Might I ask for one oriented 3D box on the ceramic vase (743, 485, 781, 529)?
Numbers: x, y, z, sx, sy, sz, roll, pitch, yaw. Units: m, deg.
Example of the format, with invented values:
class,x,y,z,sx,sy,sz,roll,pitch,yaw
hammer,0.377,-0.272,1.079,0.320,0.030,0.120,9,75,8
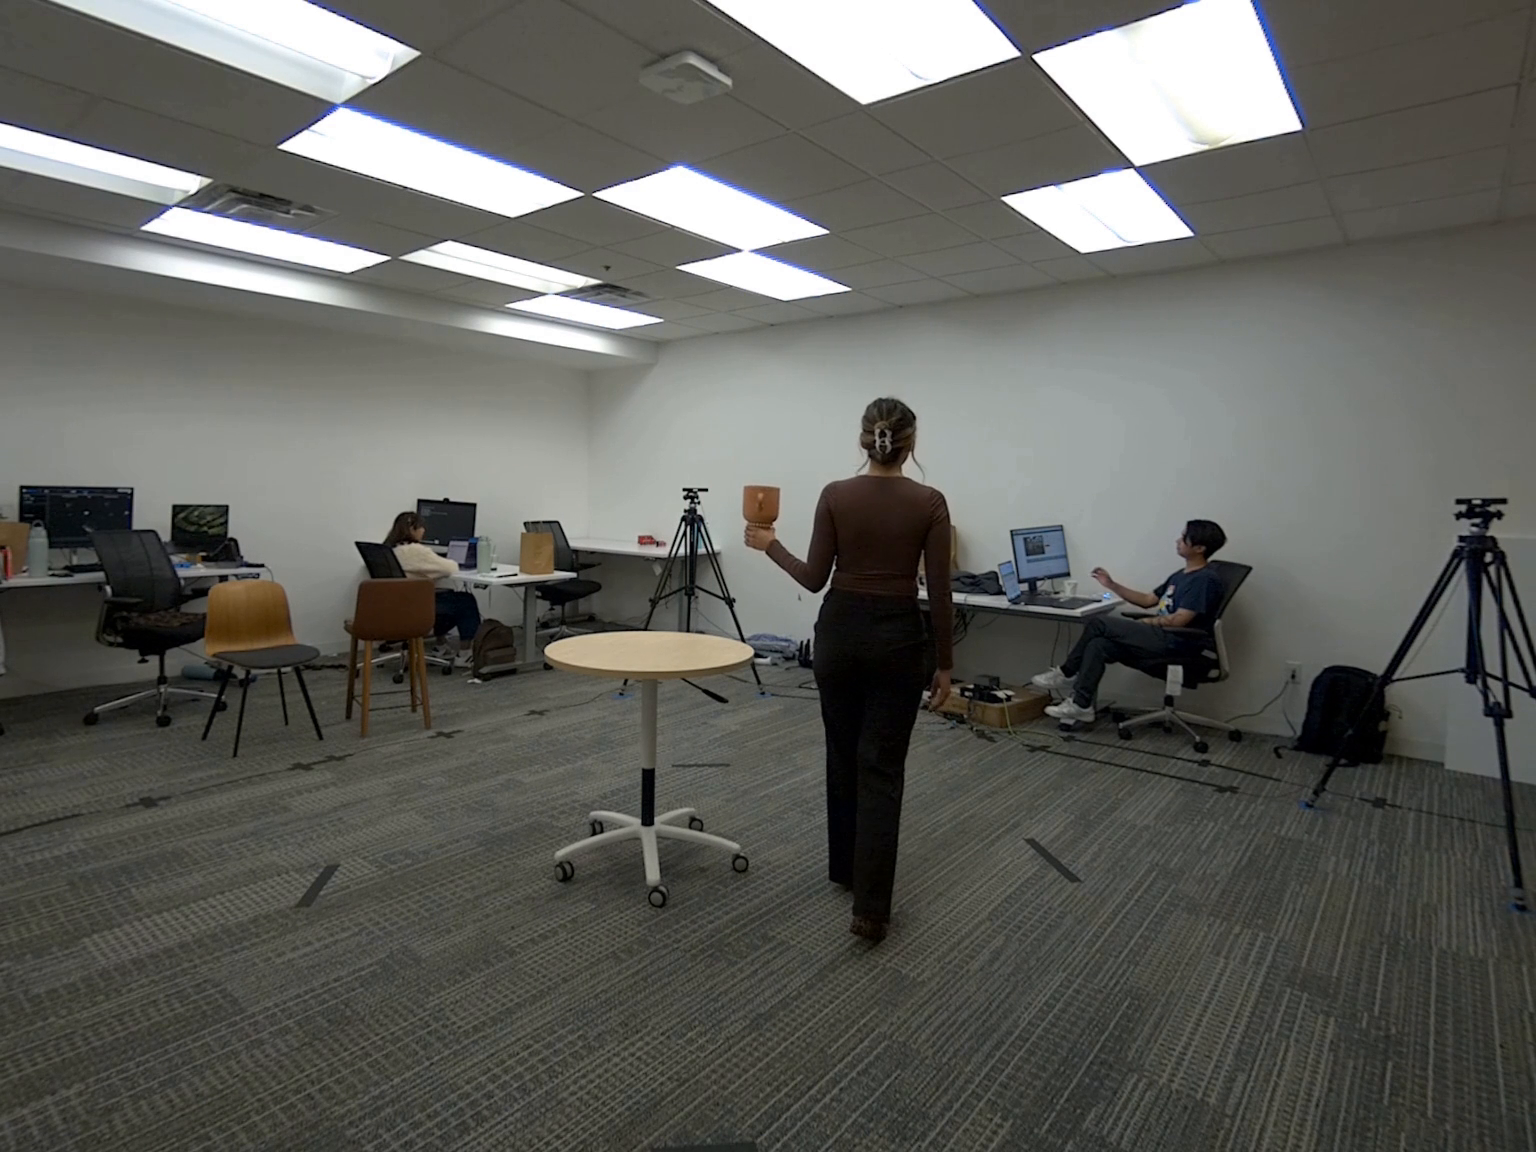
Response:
class,x,y,z,sx,sy,sz,roll,pitch,yaw
ceramic vase,-0.034,-0.220,3.096,0.139,0.219,0.154,5,4,41
